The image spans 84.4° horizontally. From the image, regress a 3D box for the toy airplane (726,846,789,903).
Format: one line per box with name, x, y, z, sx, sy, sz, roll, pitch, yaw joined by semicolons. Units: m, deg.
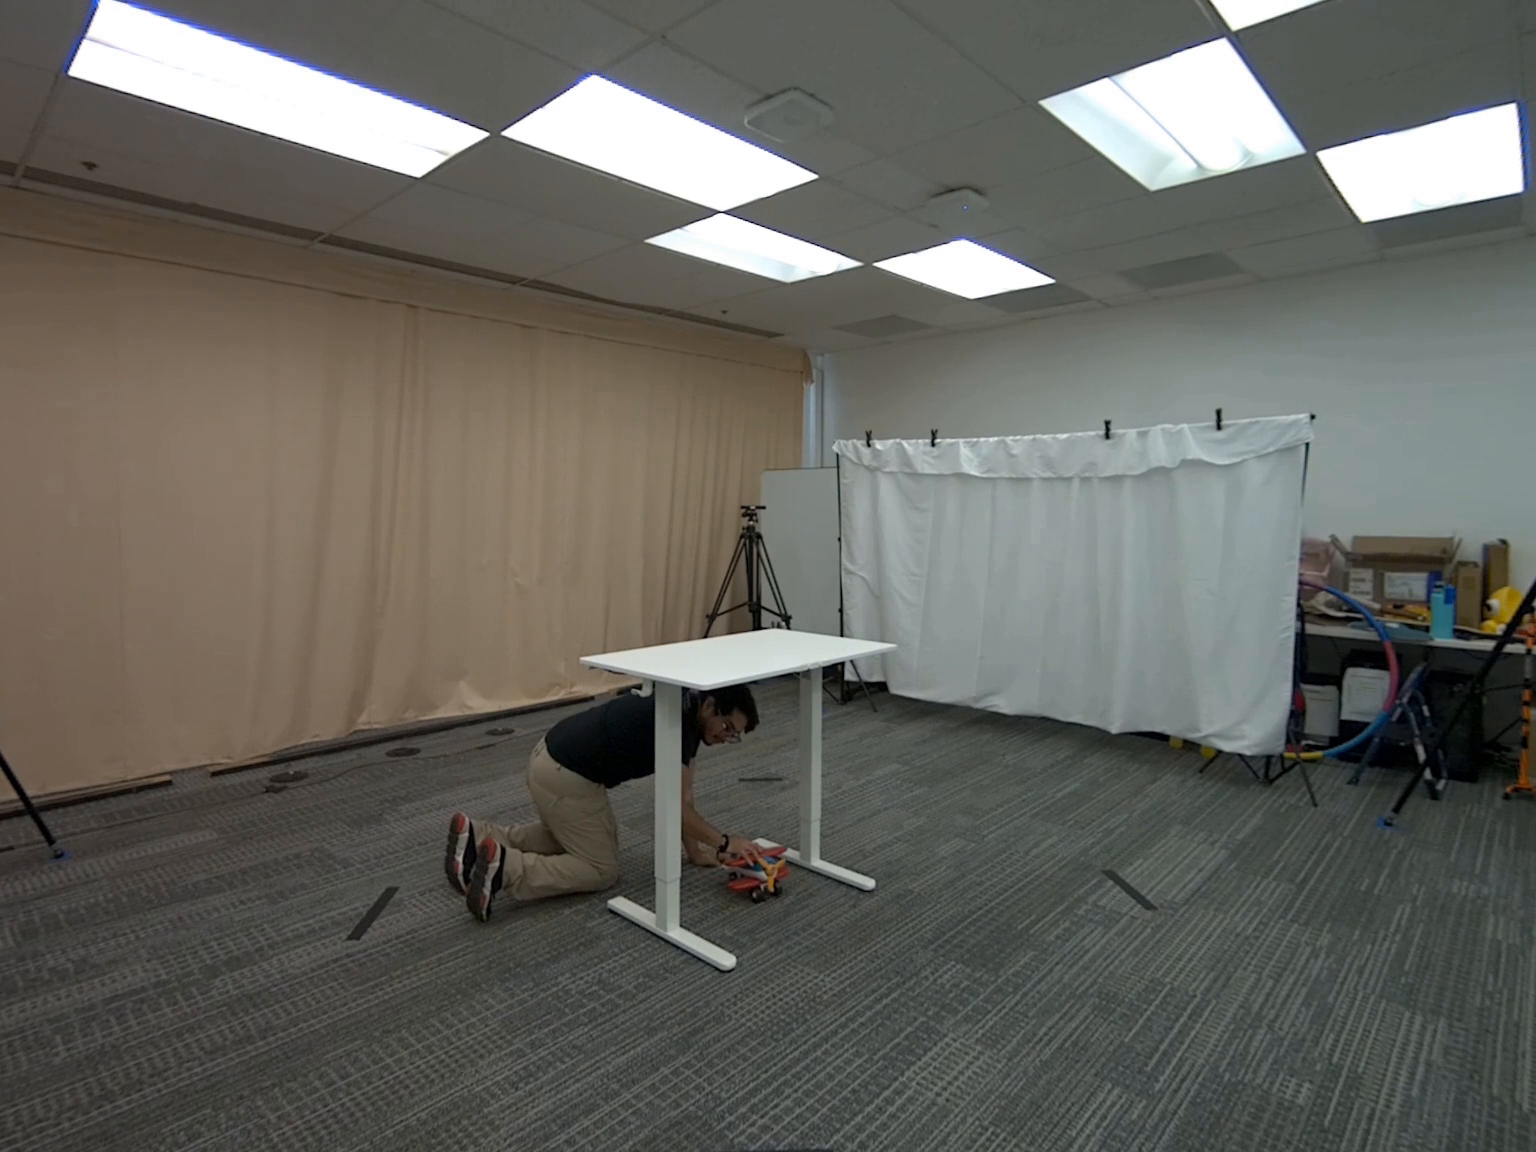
toy airplane;-0.068;1.068;3.032;0.266;0.156;0.245;4;6;27
